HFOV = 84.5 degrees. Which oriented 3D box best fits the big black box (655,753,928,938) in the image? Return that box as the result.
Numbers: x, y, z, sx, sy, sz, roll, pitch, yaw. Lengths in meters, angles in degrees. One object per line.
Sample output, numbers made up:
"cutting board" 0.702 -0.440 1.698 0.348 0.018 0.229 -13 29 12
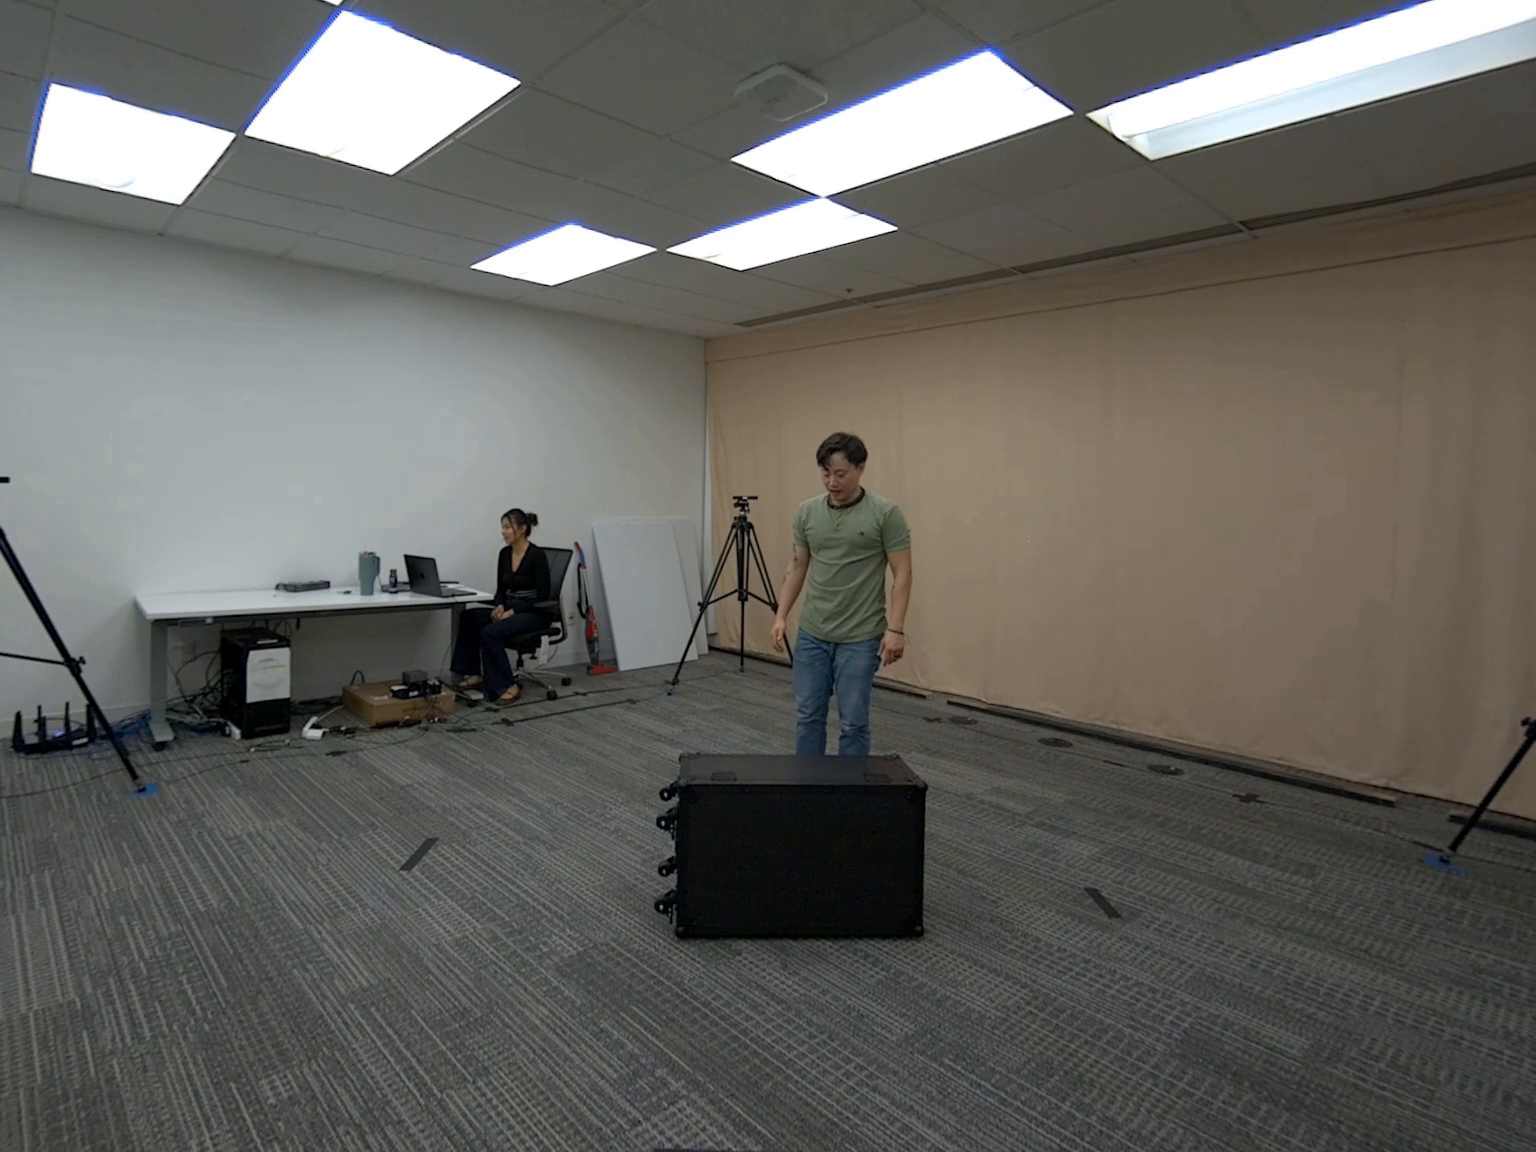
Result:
"big black box" 0.051 0.876 2.825 0.859 0.521 0.398 1 1 -4
